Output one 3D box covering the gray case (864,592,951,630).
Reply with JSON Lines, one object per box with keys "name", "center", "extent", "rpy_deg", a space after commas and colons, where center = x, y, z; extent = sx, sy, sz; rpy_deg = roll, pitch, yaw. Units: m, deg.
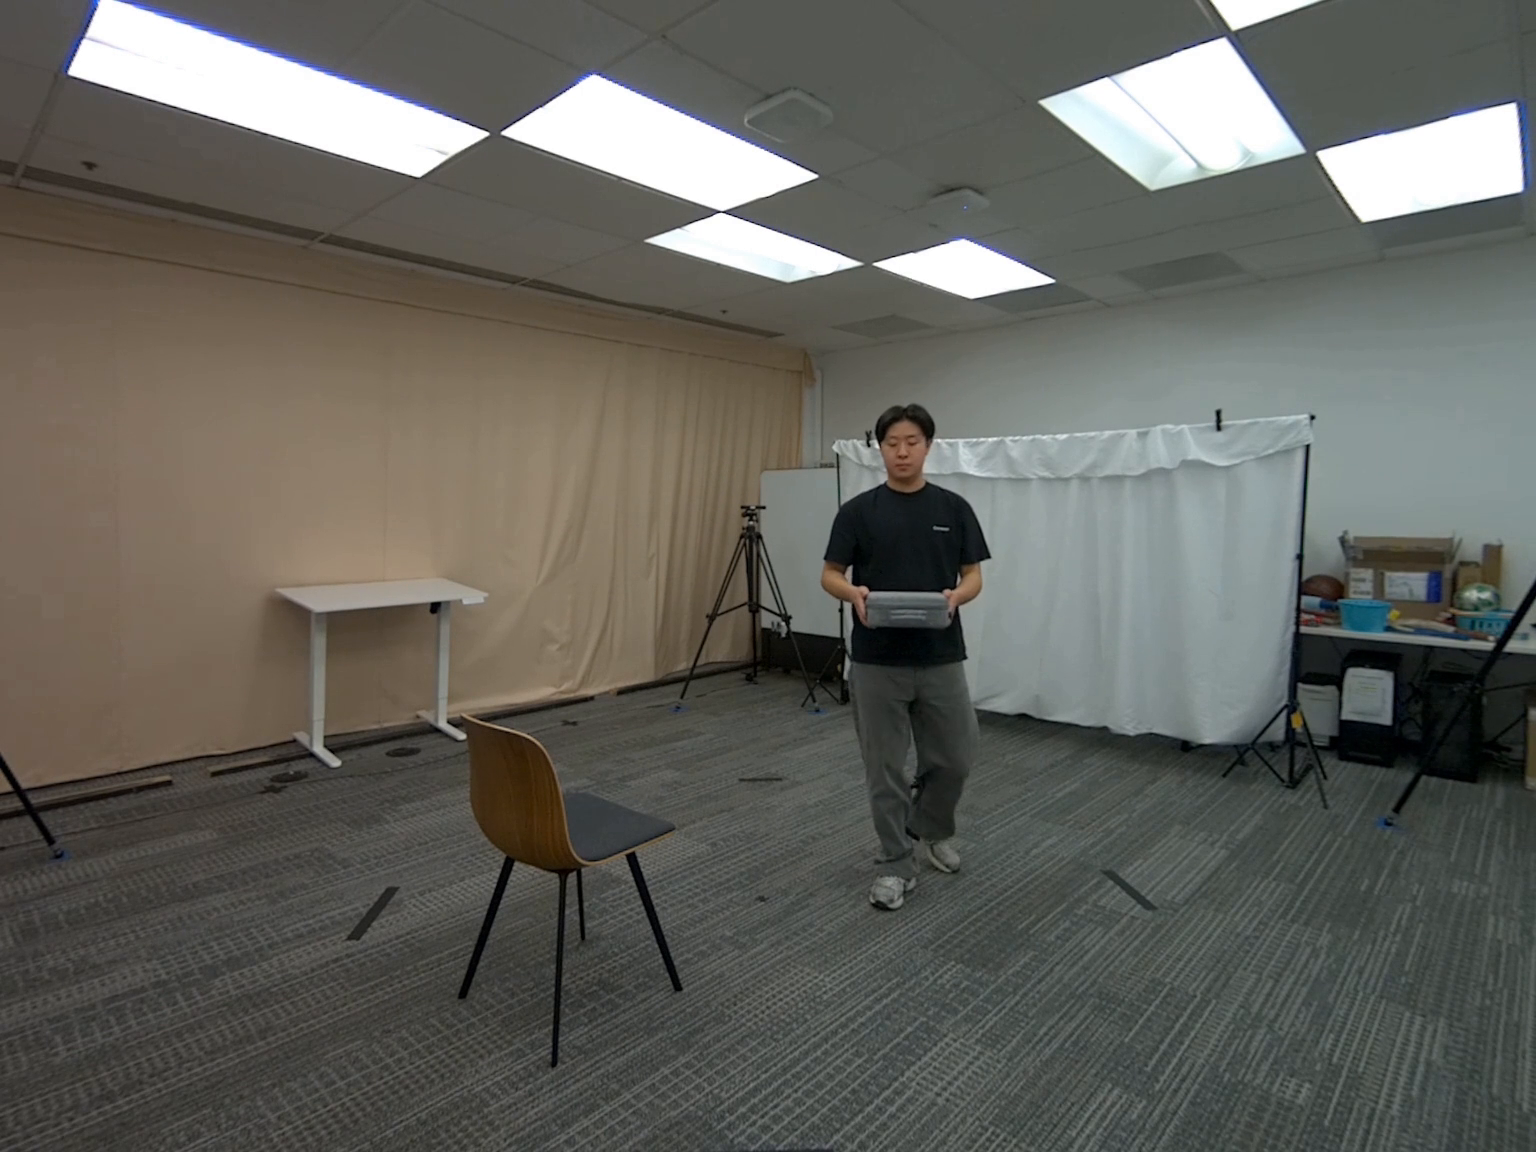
{"name": "gray case", "center": [0.446, 0.110, 2.719], "extent": [0.267, 0.103, 0.283], "rpy_deg": [2, 3, 13]}
